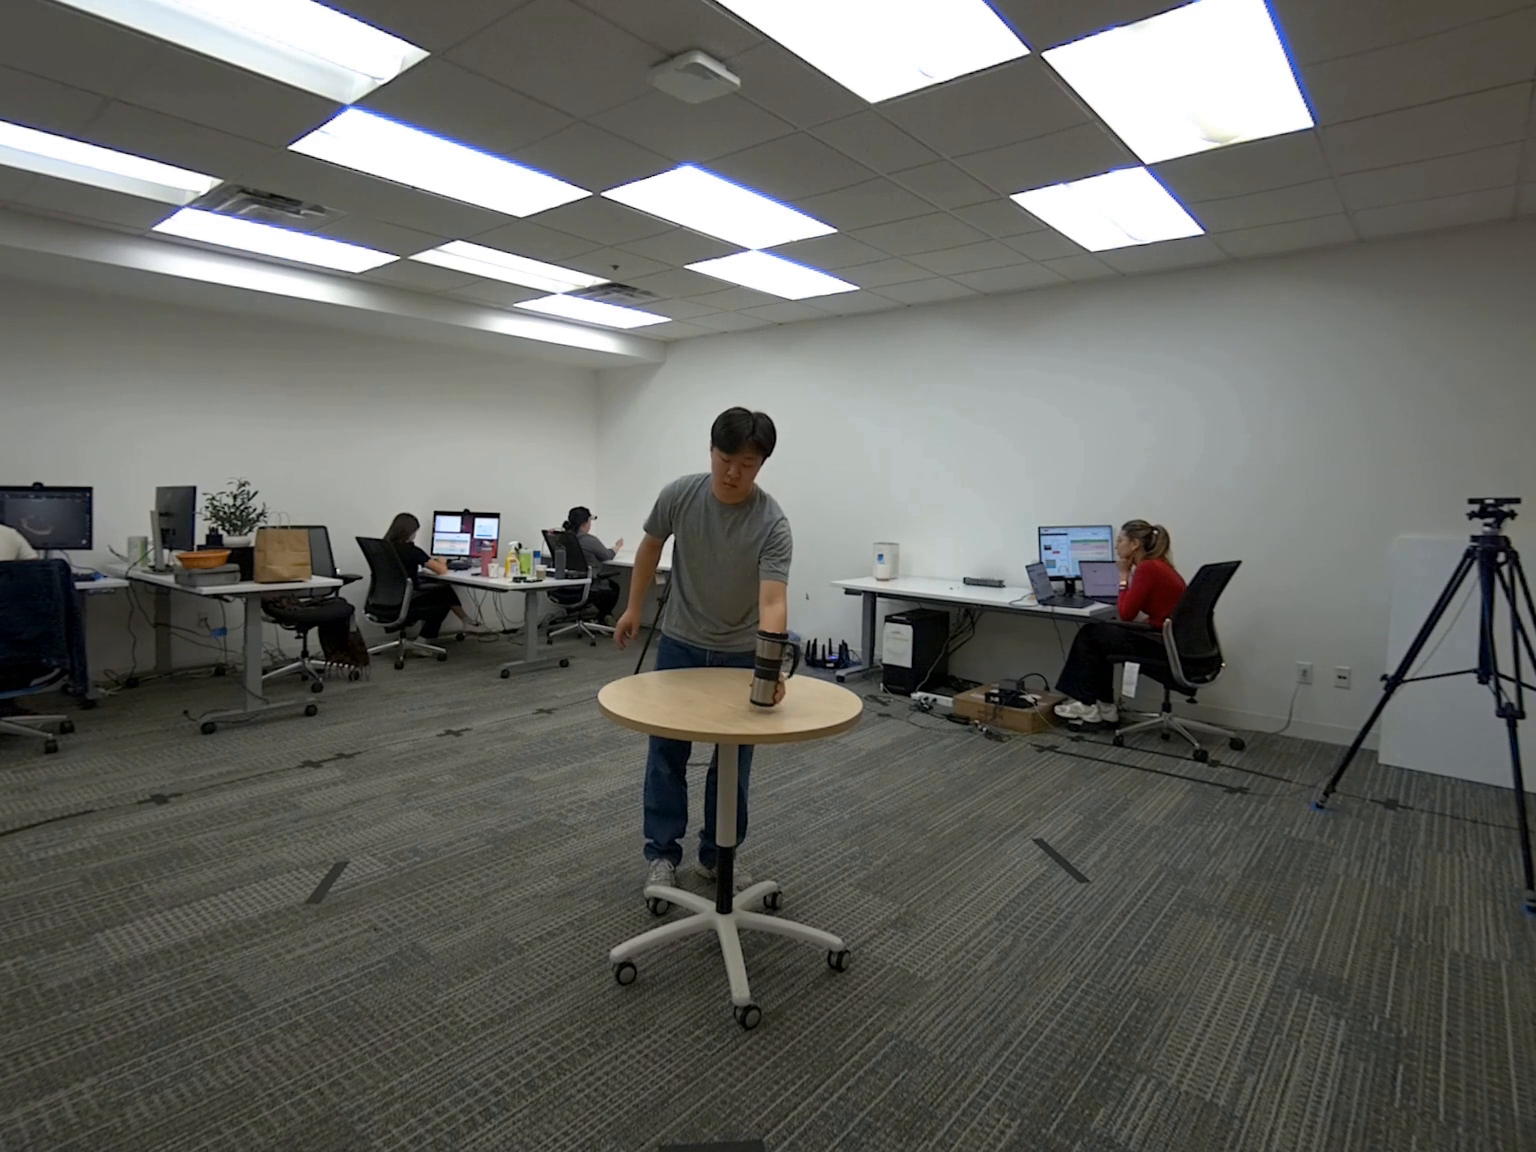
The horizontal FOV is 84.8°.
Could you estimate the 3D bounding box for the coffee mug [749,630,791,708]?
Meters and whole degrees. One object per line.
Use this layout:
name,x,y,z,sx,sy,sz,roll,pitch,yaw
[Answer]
coffee mug,-0.009,0.245,2.302,0.126,0.203,0.085,6,0,41
